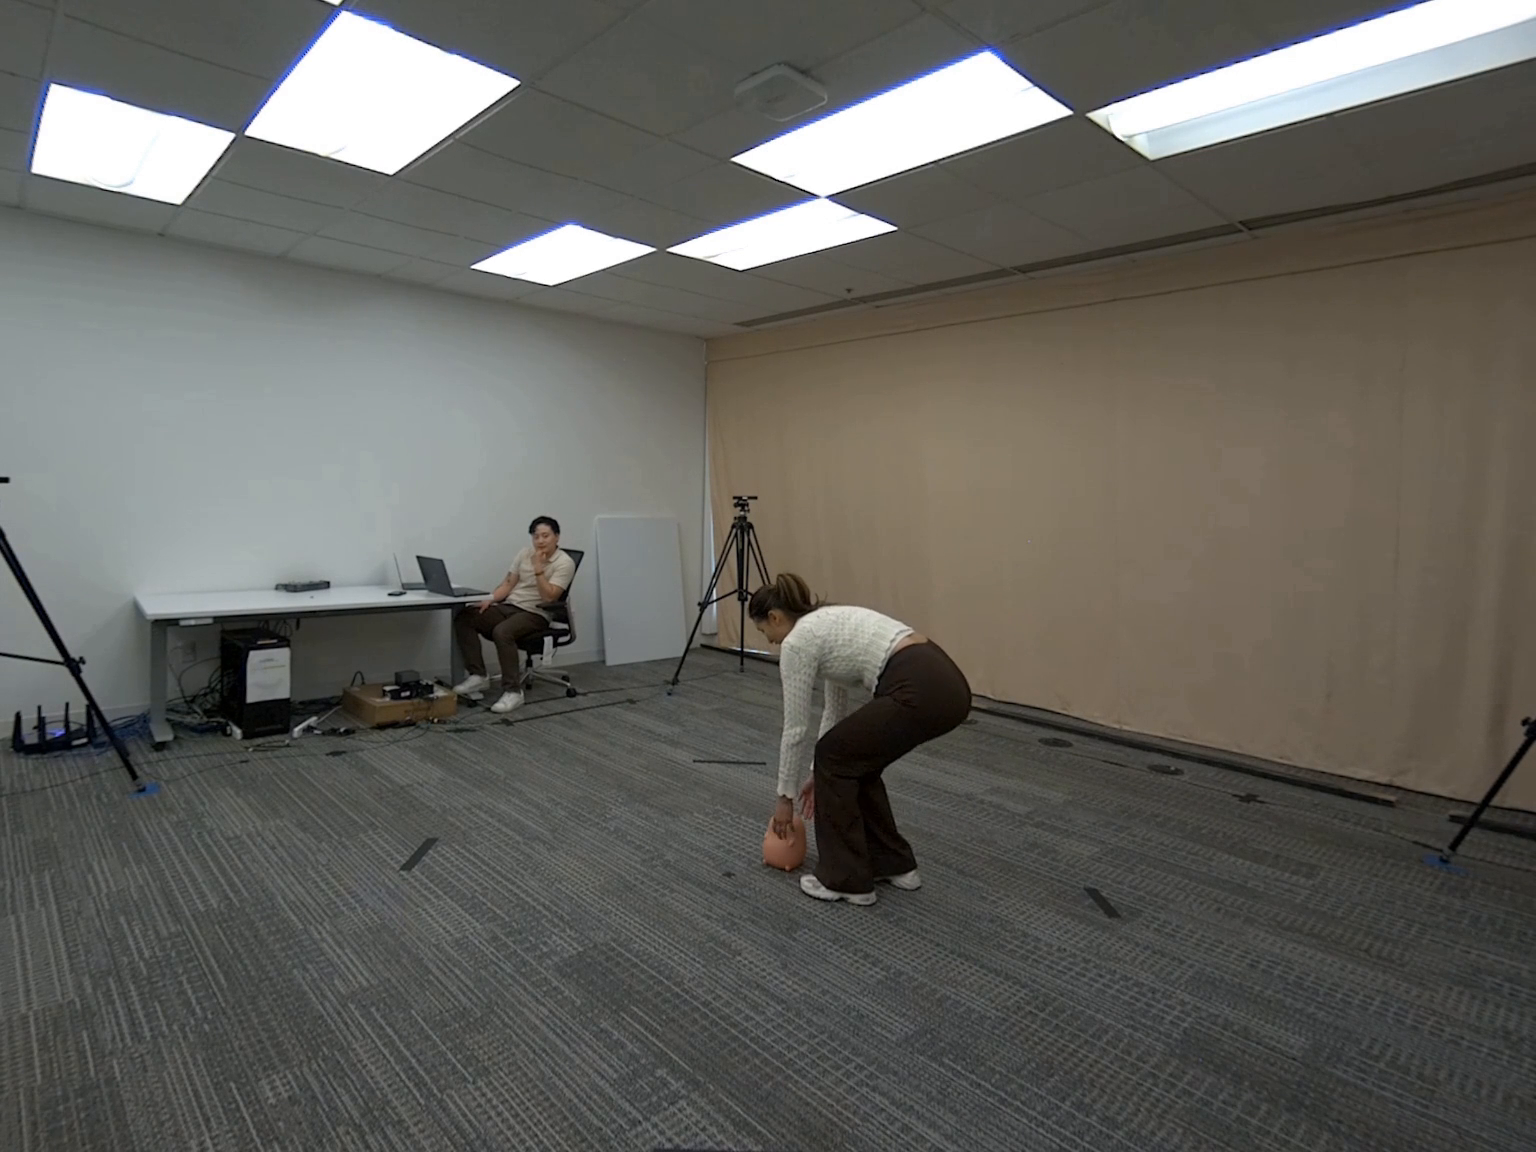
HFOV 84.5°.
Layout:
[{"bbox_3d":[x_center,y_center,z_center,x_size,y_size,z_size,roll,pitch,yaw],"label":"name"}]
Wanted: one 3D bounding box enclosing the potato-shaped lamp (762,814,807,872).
[{"bbox_3d":[0.062,0.992,3.205,0.169,0.197,0.168,8,7,32],"label":"potato-shaped lamp"}]
